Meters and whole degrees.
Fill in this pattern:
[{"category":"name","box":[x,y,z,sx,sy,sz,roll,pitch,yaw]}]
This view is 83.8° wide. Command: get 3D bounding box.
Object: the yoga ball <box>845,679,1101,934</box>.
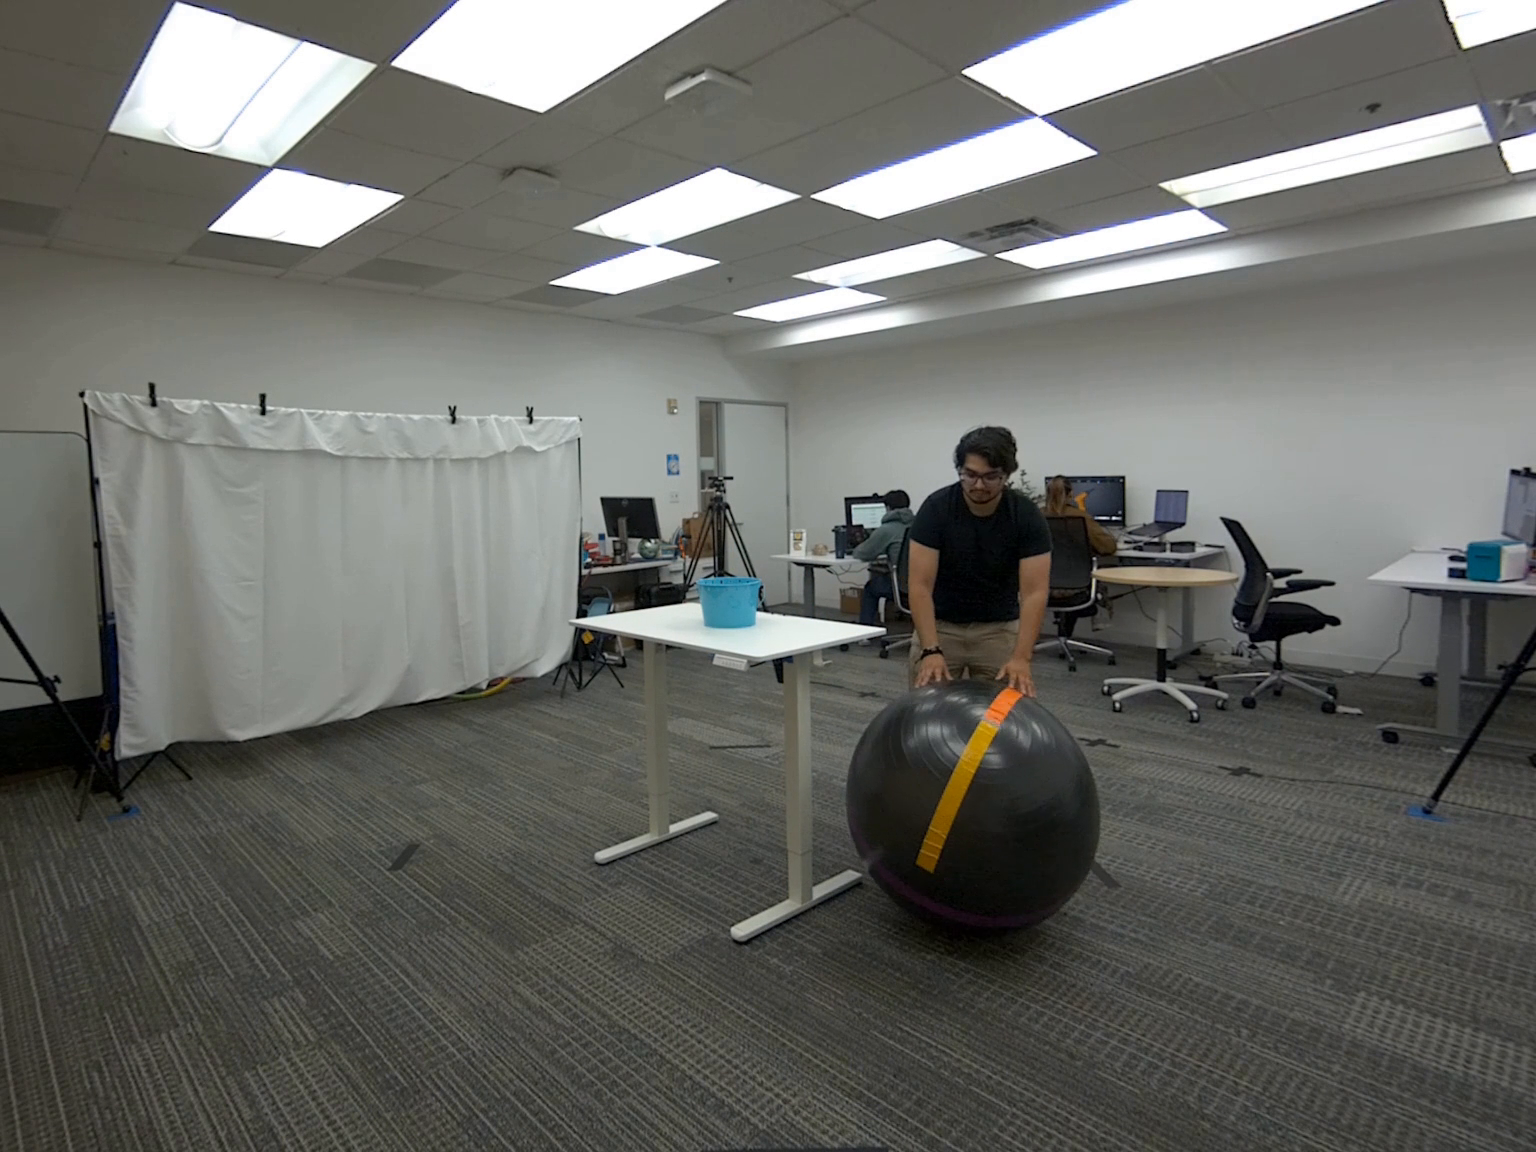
[{"category":"yoga ball","box":[0.635,0.717,2.655,0.757,0.755,0.762,-1,5,-2]}]
